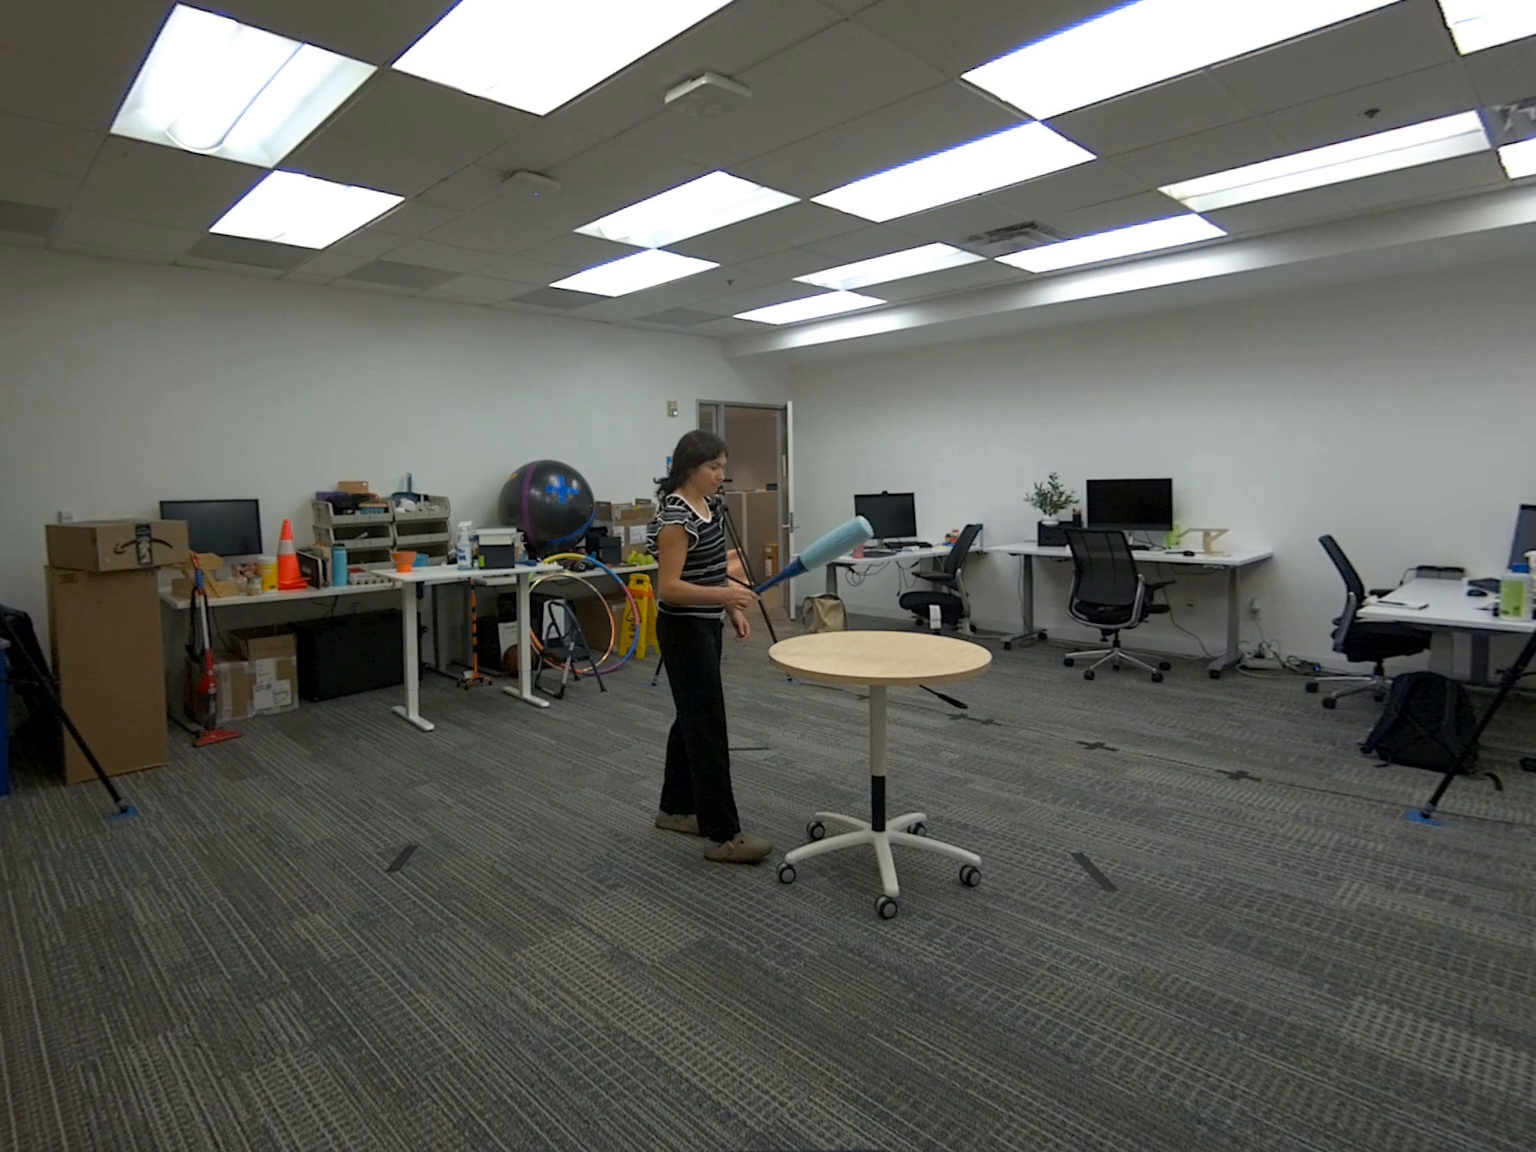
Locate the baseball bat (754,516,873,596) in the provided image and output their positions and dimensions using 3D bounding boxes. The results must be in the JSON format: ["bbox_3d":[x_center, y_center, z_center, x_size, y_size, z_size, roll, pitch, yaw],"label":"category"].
[{"bbox_3d":[0.120,-0.030,2.885,0.547,0.090,0.087,-32,-9,25],"label":"baseball bat"}]
